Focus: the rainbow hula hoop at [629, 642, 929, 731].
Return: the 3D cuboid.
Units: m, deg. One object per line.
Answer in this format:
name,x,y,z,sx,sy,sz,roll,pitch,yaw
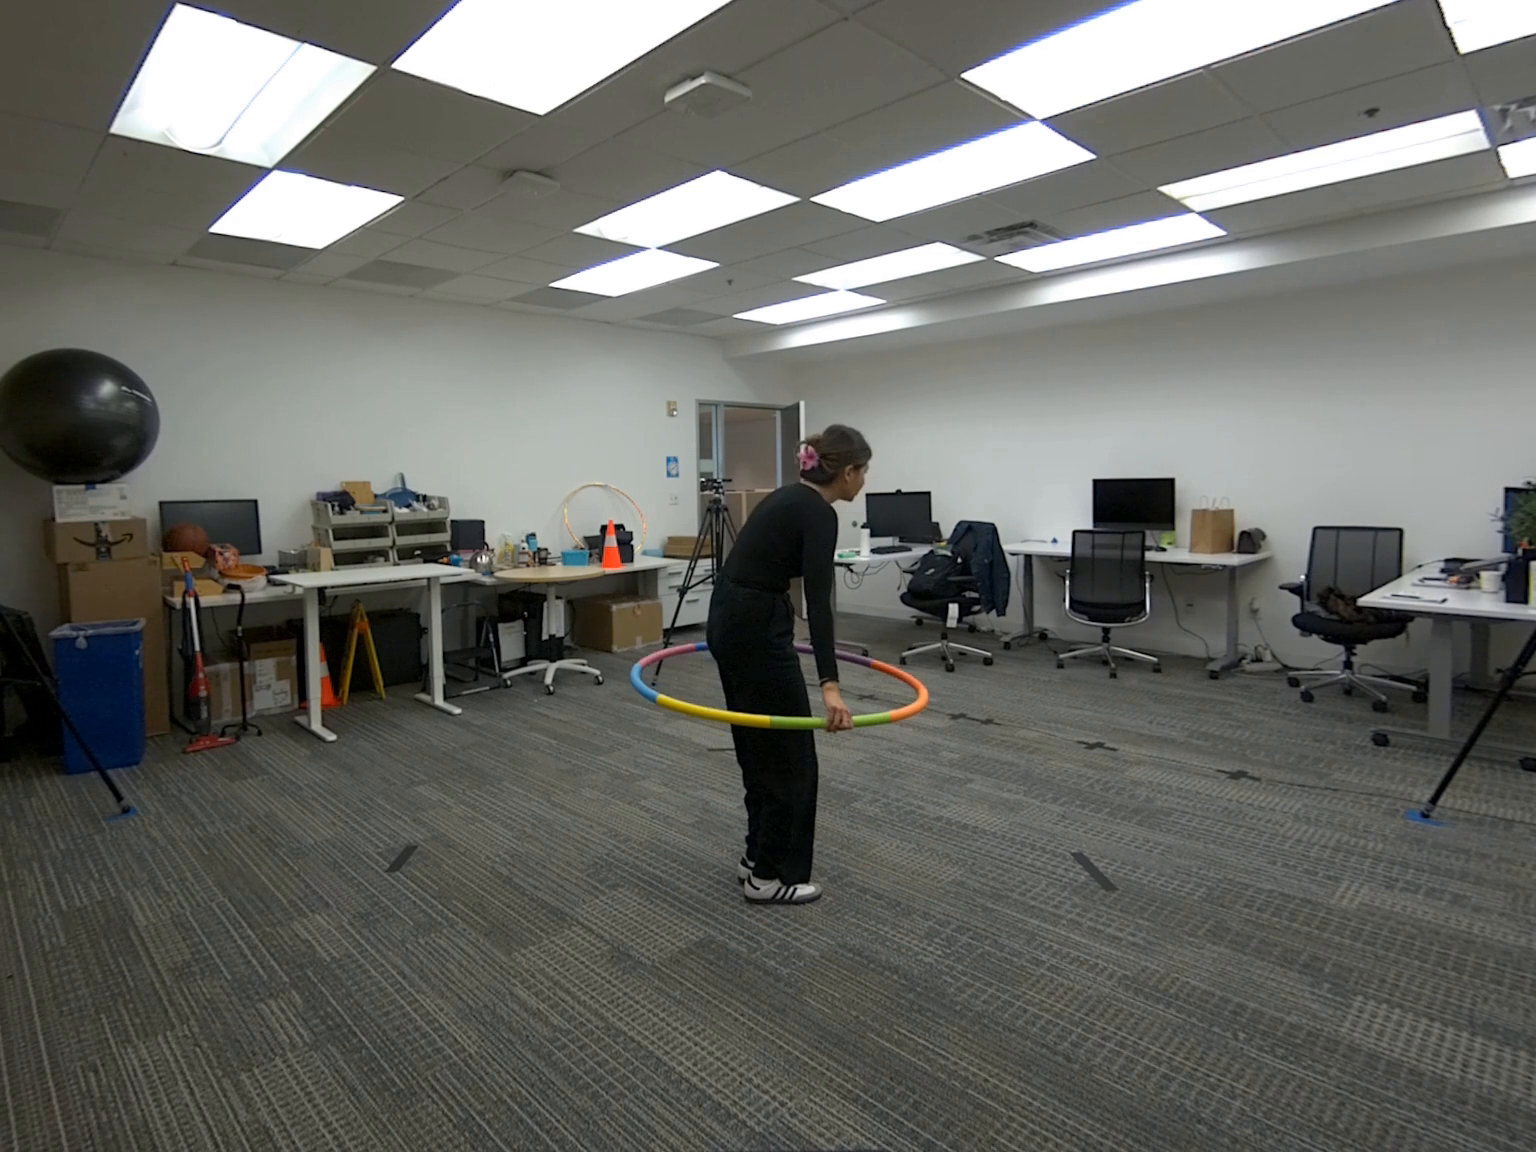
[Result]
rainbow hula hoop,0.035,0.349,2.885,0.977,0.035,0.986,3,9,-2
